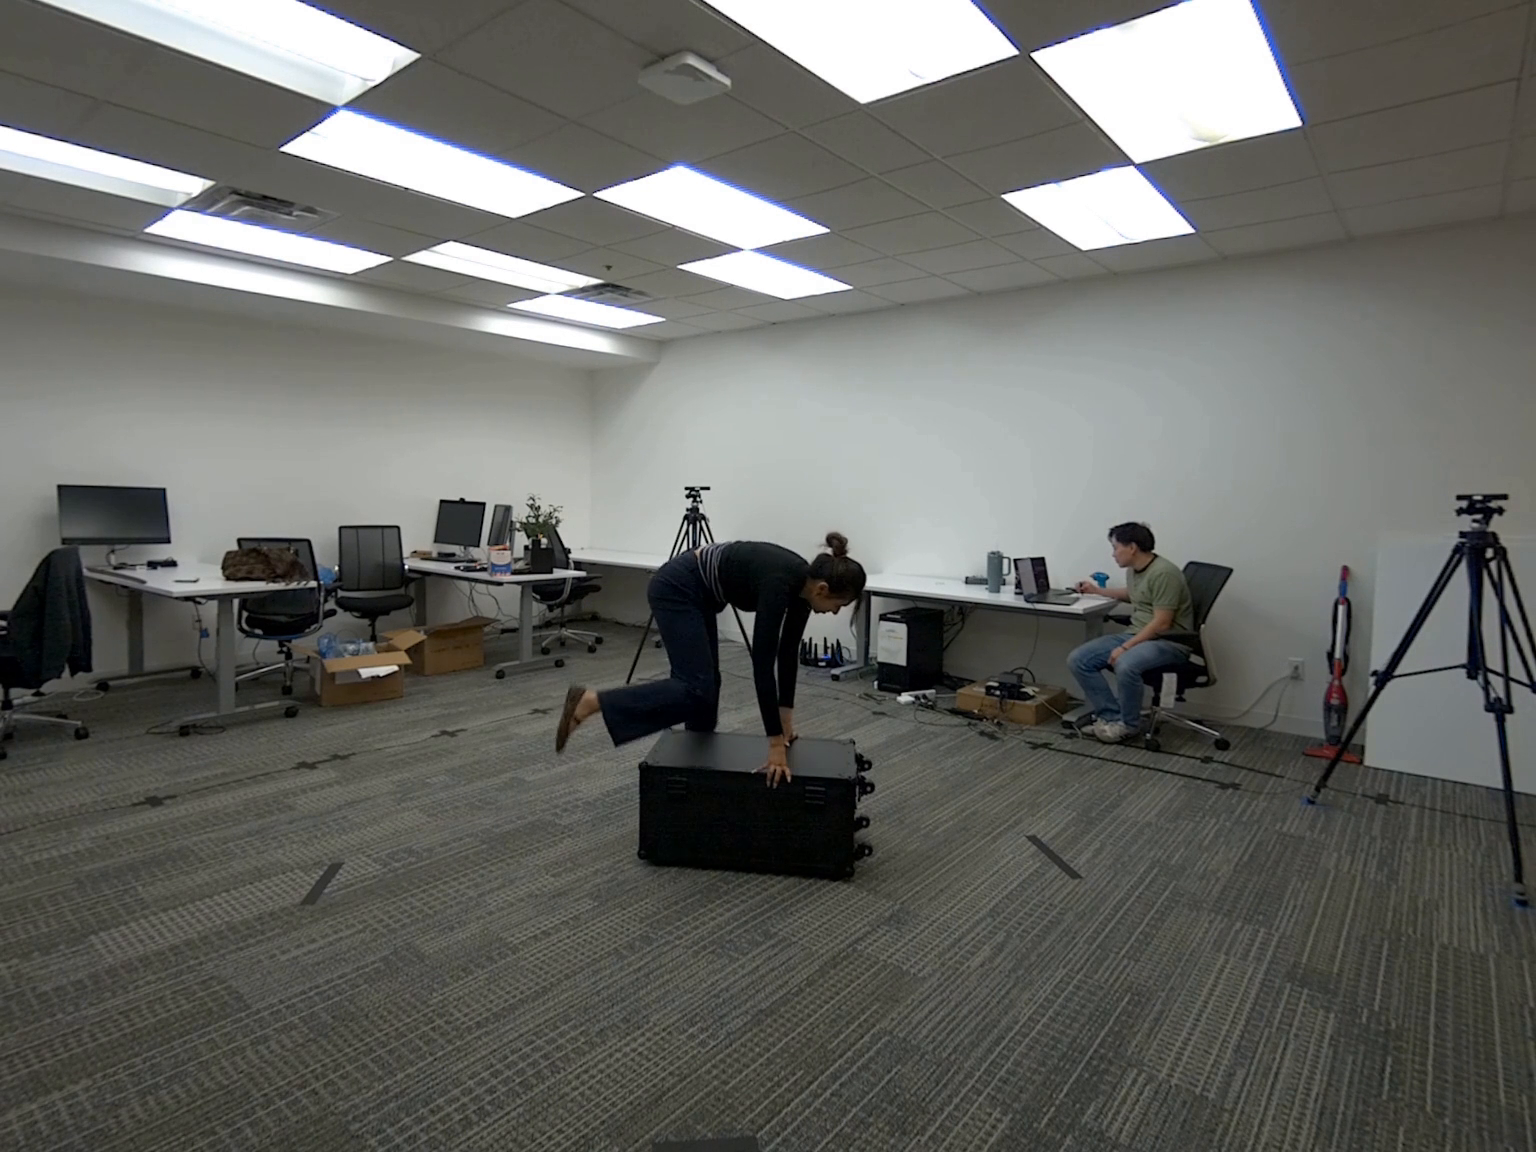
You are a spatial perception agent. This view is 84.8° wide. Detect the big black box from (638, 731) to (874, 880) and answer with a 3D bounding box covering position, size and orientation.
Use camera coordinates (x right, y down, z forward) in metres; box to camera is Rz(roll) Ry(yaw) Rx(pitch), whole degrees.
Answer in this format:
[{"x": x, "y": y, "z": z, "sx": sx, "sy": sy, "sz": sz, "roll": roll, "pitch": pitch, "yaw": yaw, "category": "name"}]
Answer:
[{"x": -0.037, "y": 0.857, "z": 3.277, "sx": 0.869, "sy": 0.395, "sz": 0.519, "roll": 1, "pitch": 5, "yaw": 8, "category": "big black box"}]
